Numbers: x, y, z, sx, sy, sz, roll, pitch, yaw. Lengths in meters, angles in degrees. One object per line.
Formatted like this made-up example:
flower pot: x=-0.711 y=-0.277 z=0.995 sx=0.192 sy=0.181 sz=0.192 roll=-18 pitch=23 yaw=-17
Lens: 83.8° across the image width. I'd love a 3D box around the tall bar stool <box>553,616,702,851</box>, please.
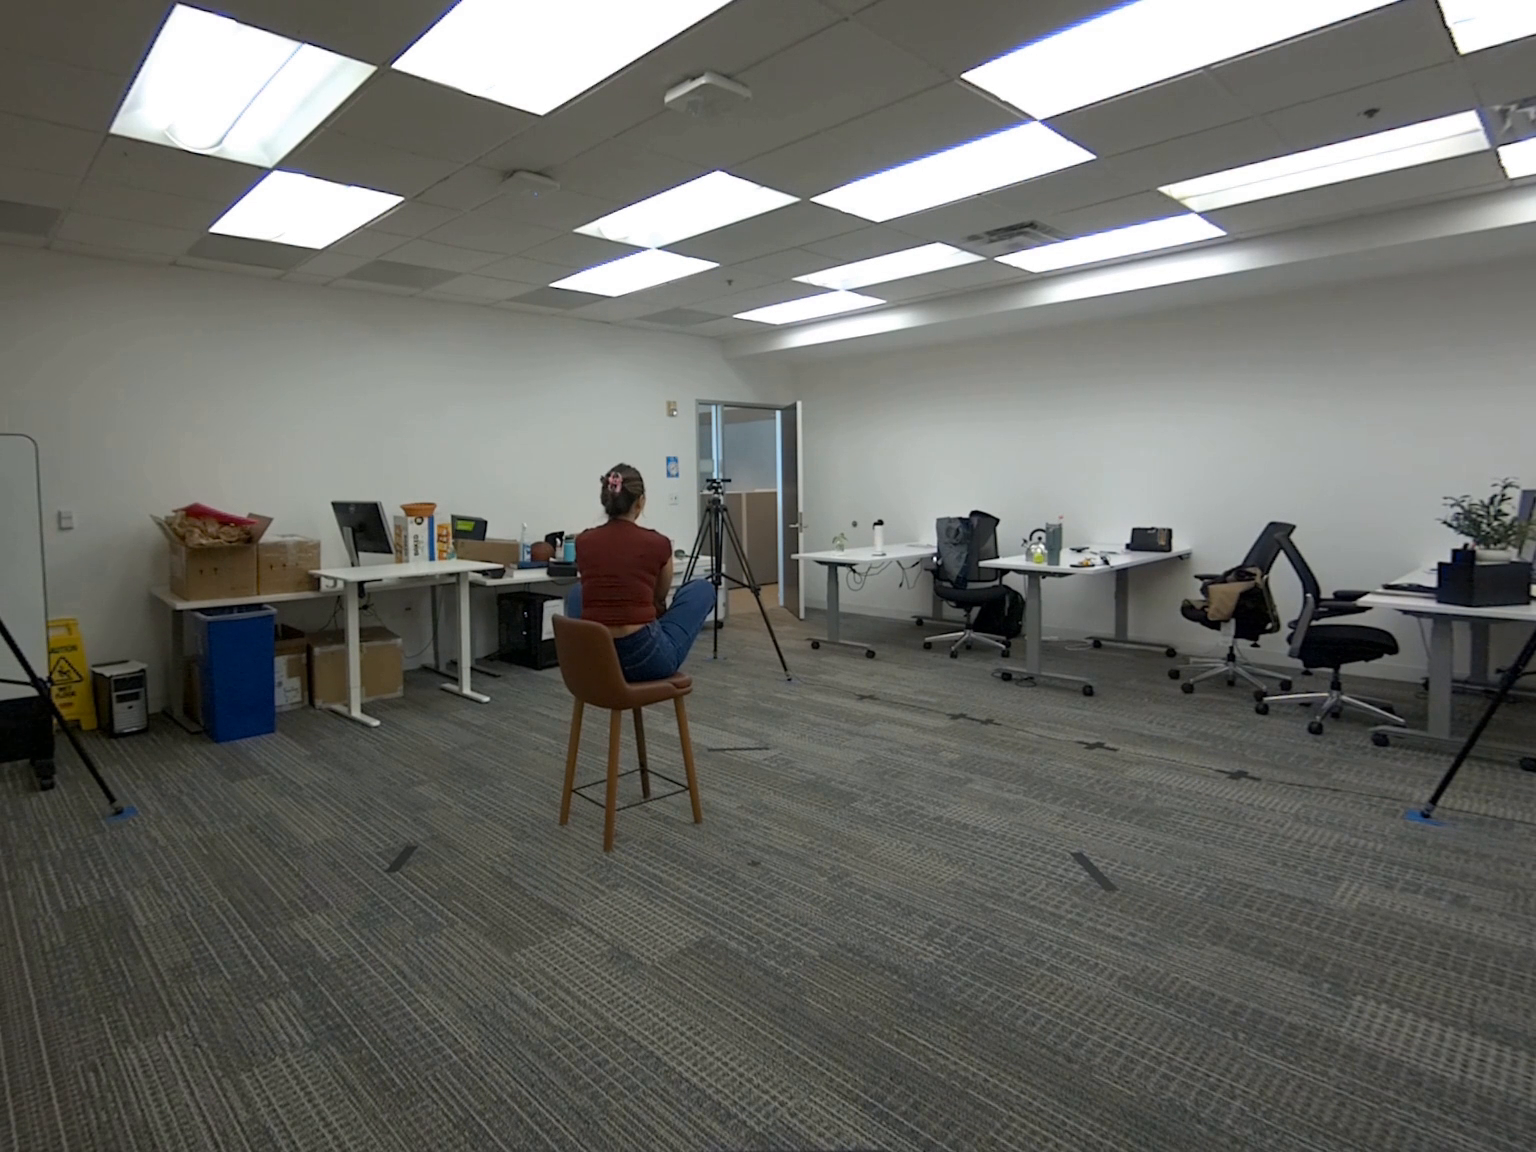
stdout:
tall bar stool: x=-0.588 y=0.580 z=3.476 sx=0.456 sy=0.886 sz=0.470 roll=-7 pitch=6 yaw=-40
